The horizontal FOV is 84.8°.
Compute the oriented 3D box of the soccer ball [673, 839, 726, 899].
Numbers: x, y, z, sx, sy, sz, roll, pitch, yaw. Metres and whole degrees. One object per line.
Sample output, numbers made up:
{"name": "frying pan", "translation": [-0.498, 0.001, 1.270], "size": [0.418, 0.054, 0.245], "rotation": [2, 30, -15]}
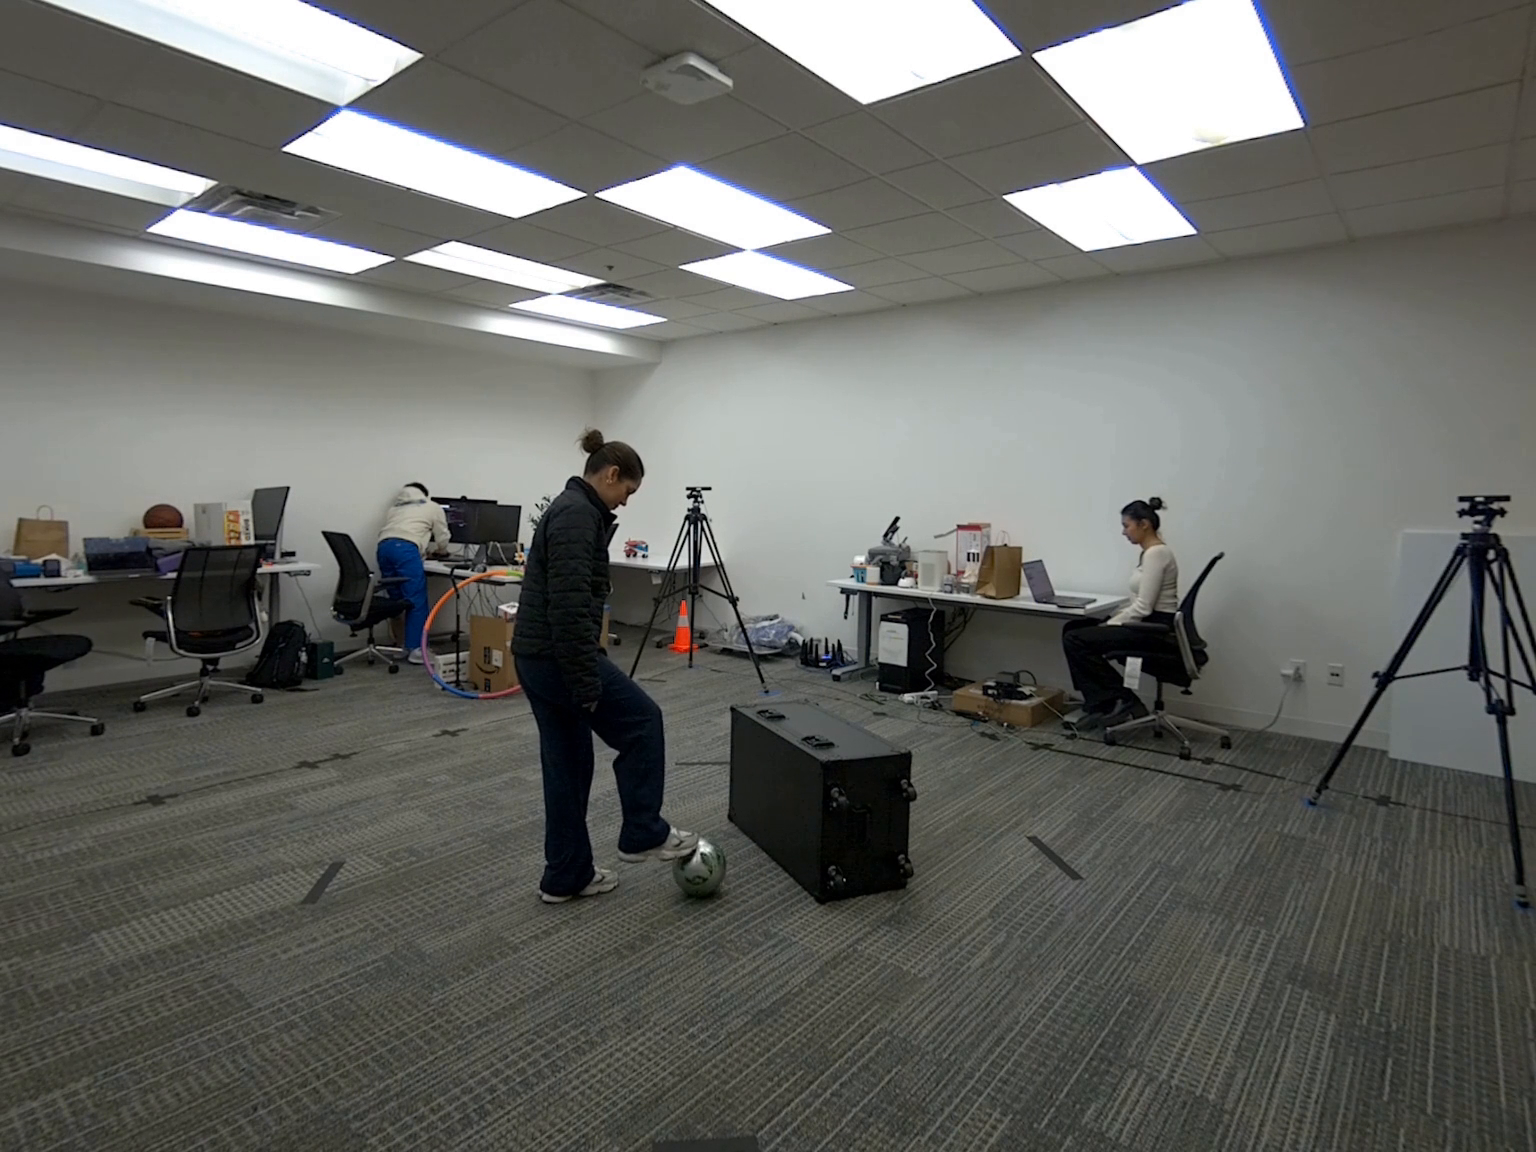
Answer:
{"name": "soccer ball", "translation": [-0.243, 0.996, 2.910], "size": [0.187, 0.187, 0.188], "rotation": [1, 4, -2]}
